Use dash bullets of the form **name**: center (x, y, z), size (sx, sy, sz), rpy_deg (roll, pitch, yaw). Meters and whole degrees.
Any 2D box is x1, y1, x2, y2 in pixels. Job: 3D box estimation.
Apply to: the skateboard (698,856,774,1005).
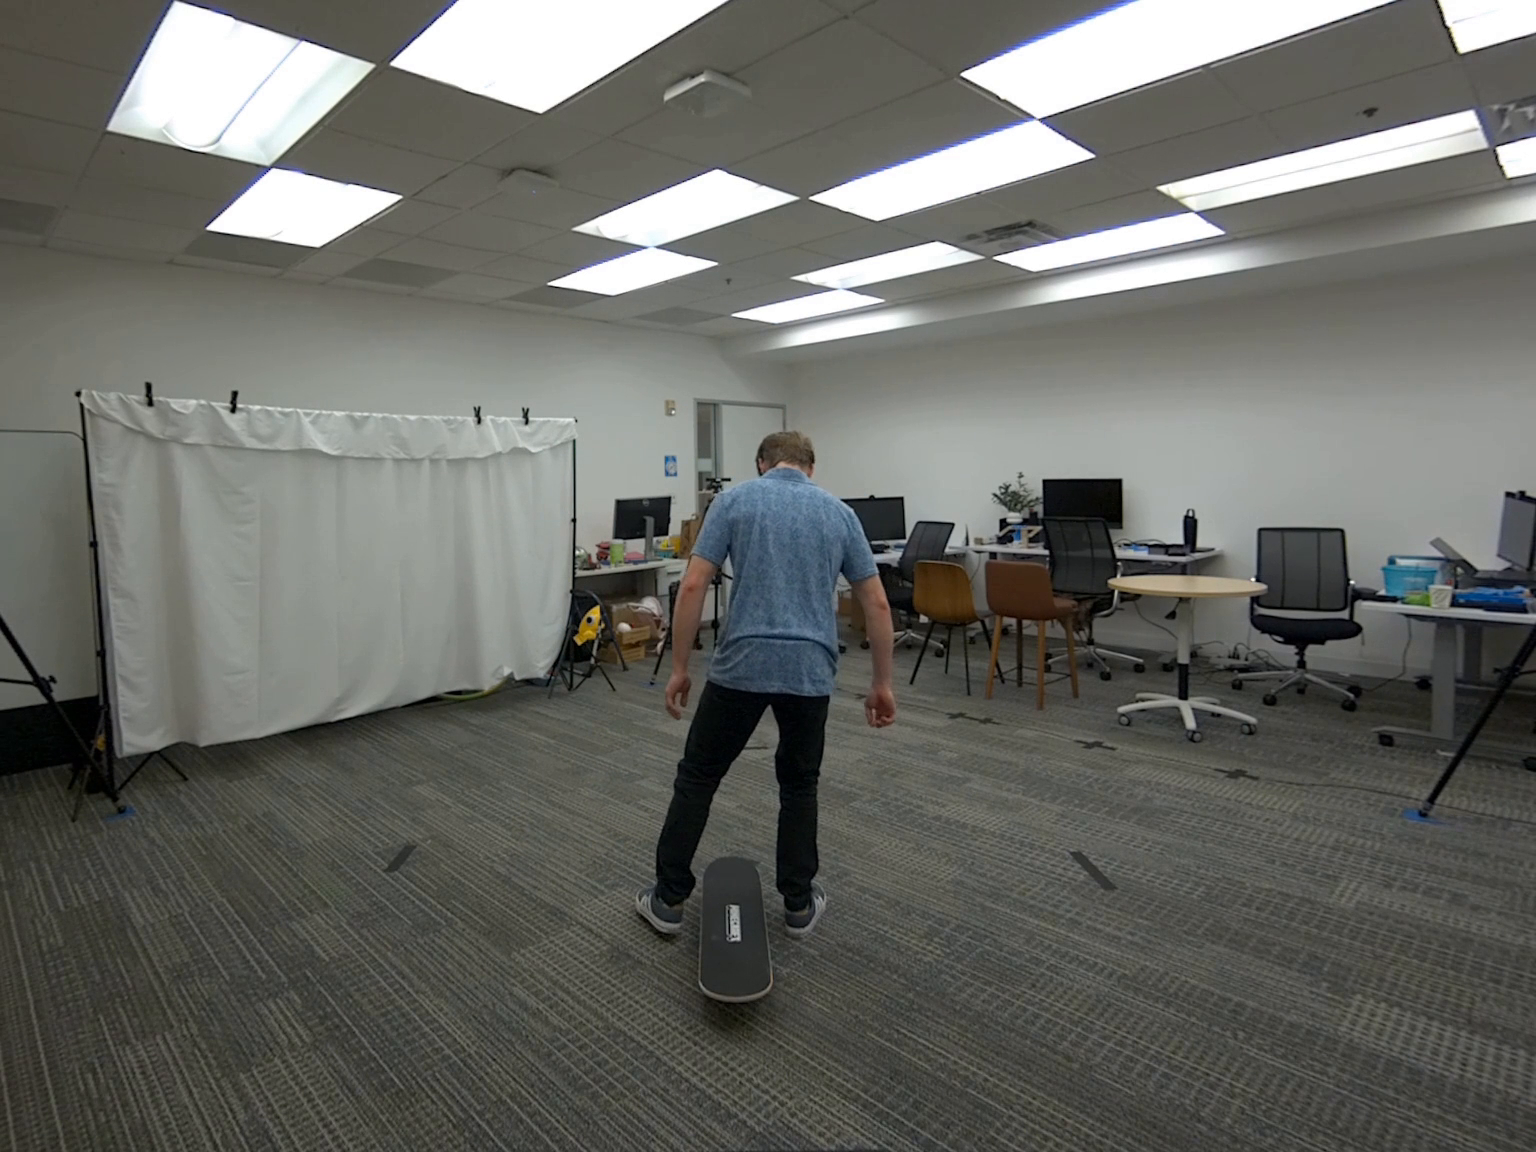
- **skateboard**: center (-0.098, 1.057, 2.518), size (0.193, 0.110, 0.790), rpy_deg (-2, 7, -3)
